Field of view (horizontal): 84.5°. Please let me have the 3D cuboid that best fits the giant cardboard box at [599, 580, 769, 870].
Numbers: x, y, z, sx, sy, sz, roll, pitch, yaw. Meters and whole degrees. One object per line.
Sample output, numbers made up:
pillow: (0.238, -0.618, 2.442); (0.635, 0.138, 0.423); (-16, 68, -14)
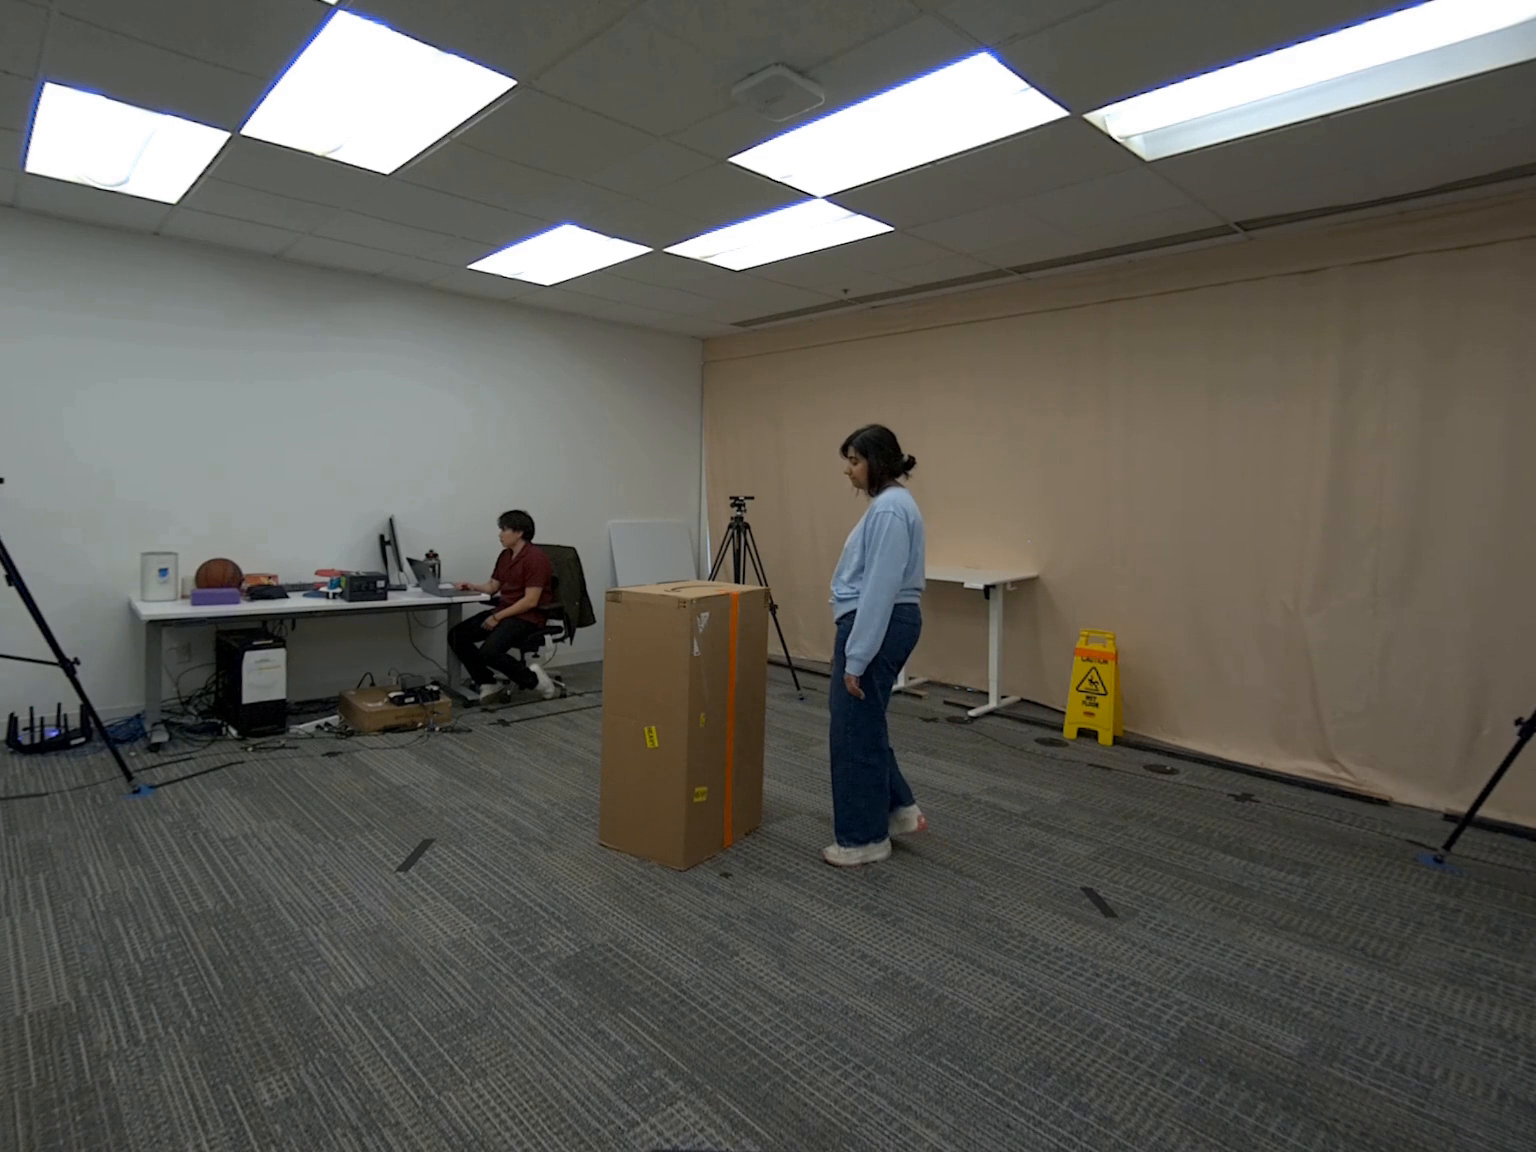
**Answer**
giant cardboard box: (-0.334, 0.557, 3.453); (0.436, 1.023, 0.566); (4, 4, 32)
